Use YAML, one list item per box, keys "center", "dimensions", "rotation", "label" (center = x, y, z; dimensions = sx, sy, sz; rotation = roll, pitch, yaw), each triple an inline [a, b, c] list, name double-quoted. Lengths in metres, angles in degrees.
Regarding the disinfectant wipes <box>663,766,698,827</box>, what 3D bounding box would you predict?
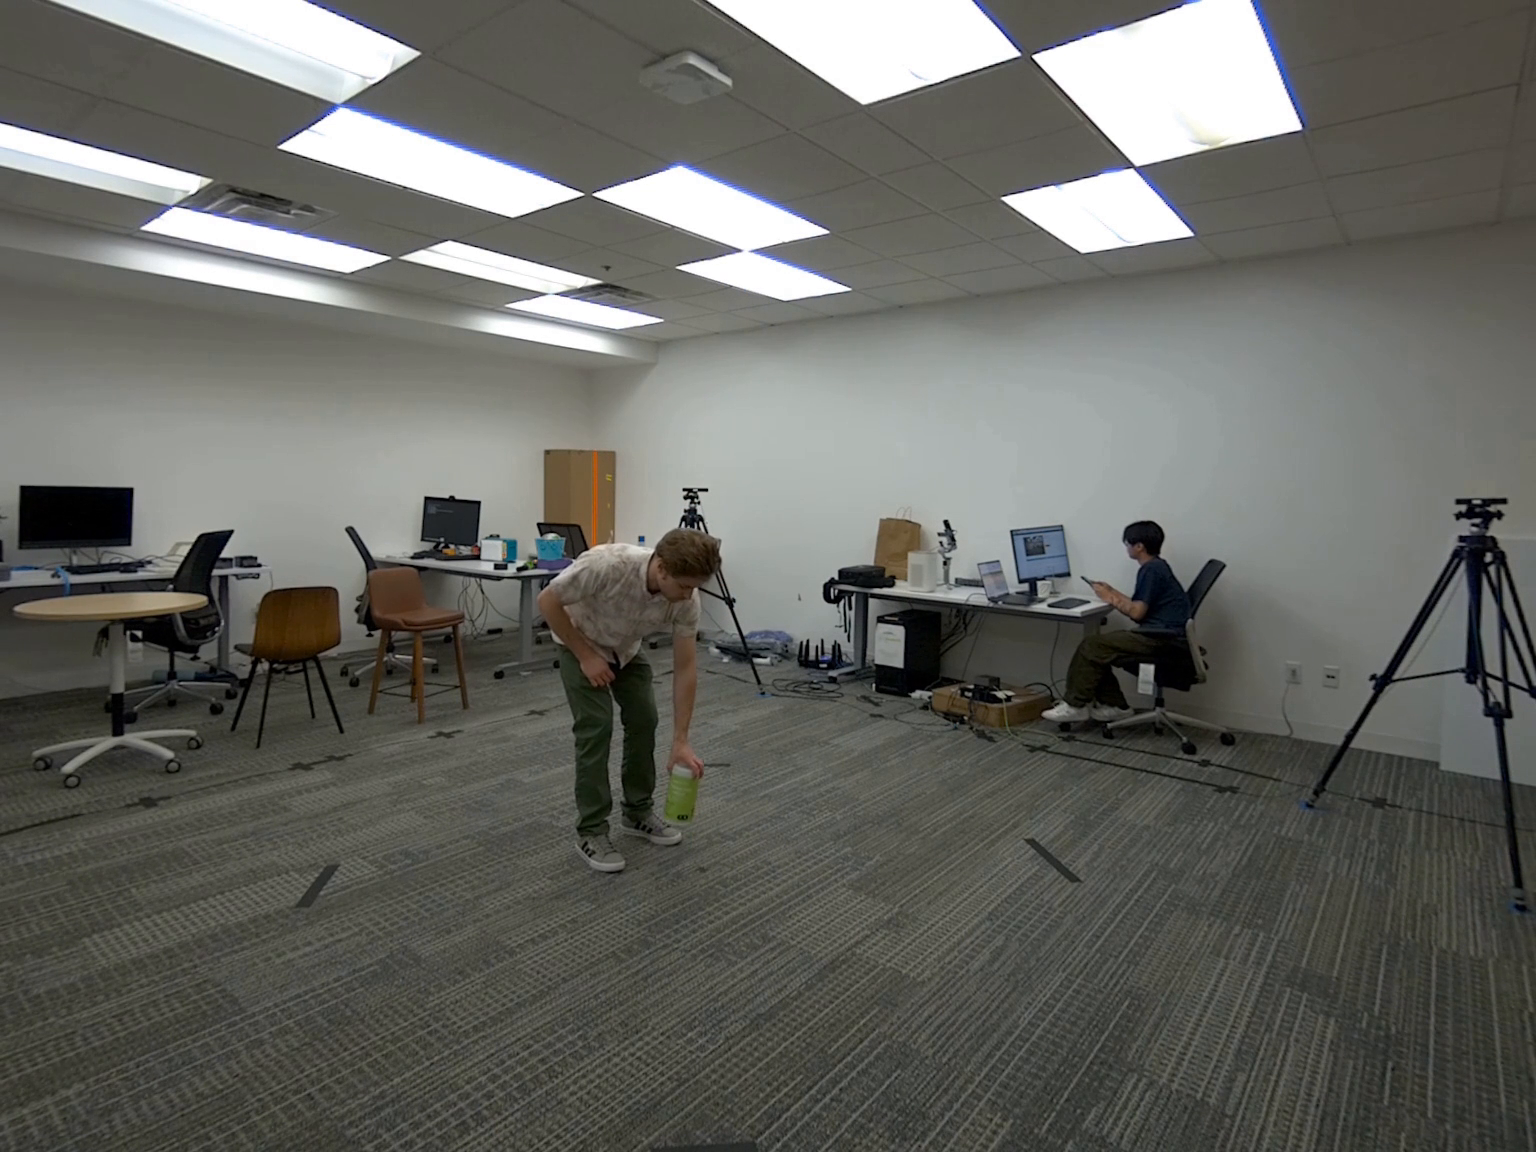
- center: [-0.332, 0.807, 3.144]
  dimensions: [0.117, 0.217, 0.118]
  rotation: [8, 4, -3]
  label: "disinfectant wipes"
